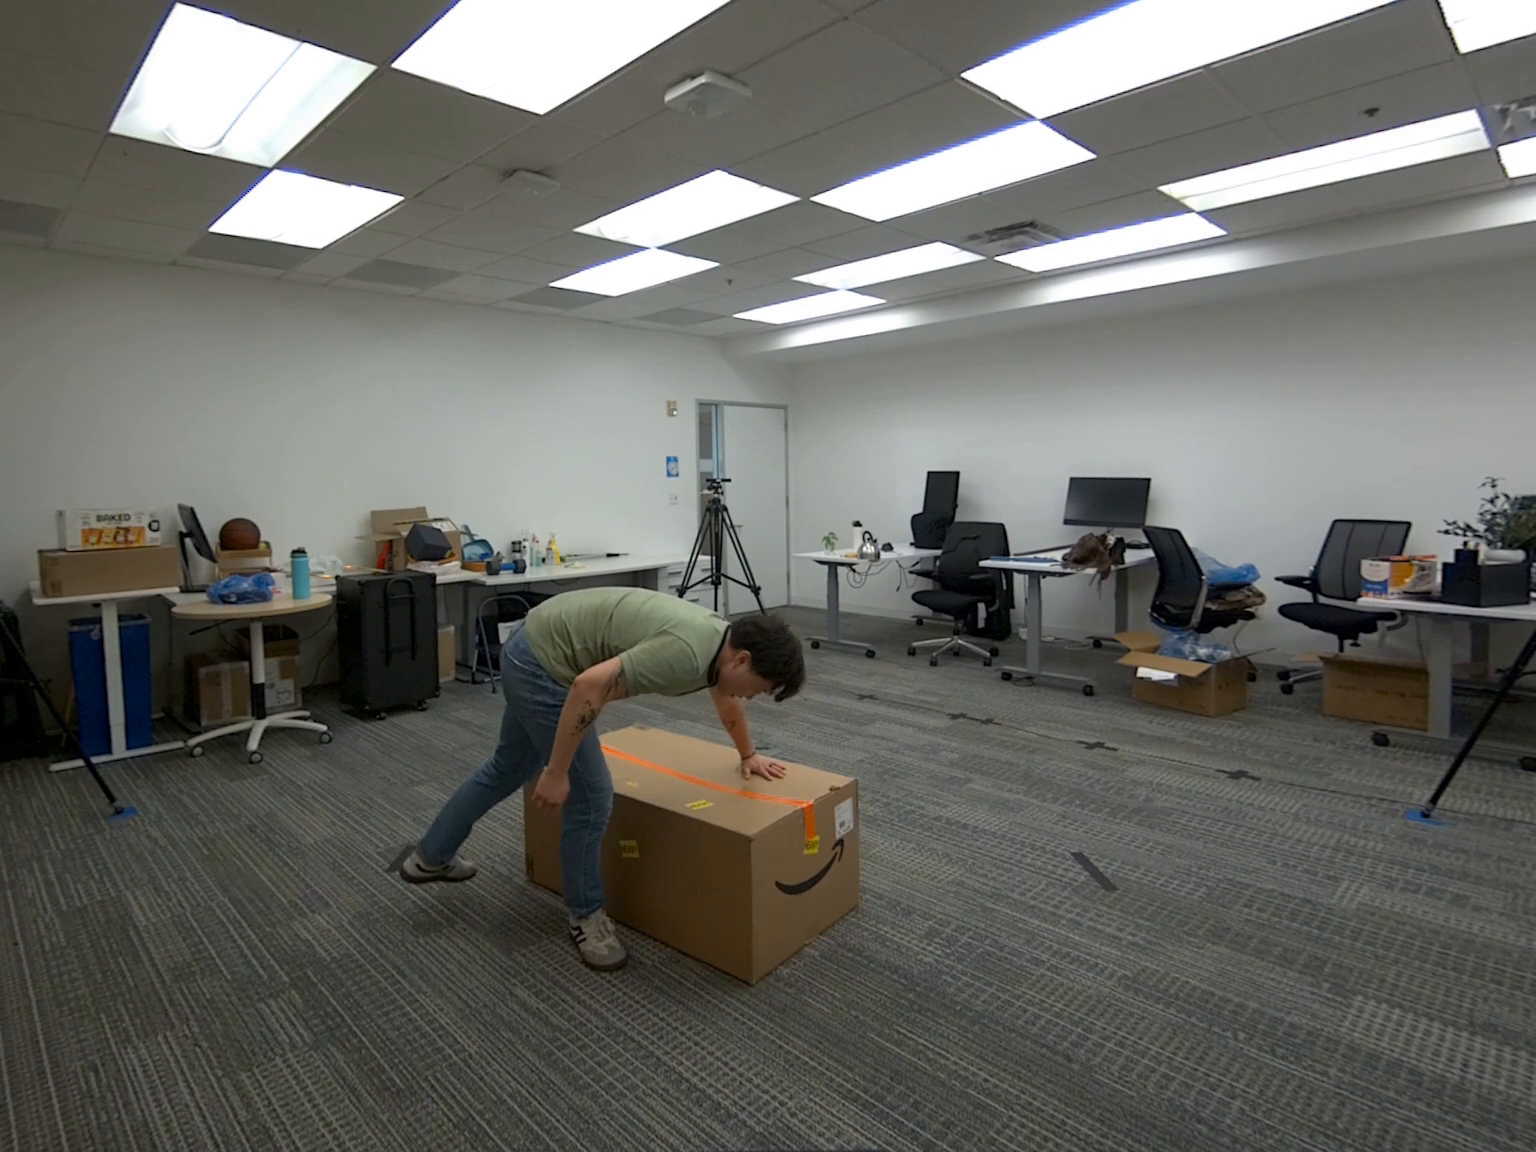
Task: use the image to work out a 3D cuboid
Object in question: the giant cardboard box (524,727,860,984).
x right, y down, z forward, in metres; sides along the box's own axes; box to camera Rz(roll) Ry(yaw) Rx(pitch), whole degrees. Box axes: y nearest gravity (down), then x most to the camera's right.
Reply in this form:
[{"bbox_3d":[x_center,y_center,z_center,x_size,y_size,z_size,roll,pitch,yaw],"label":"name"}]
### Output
[{"bbox_3d":[-0.278,0.862,2.892,1.057,0.424,0.563,4,8,39],"label":"giant cardboard box"}]
